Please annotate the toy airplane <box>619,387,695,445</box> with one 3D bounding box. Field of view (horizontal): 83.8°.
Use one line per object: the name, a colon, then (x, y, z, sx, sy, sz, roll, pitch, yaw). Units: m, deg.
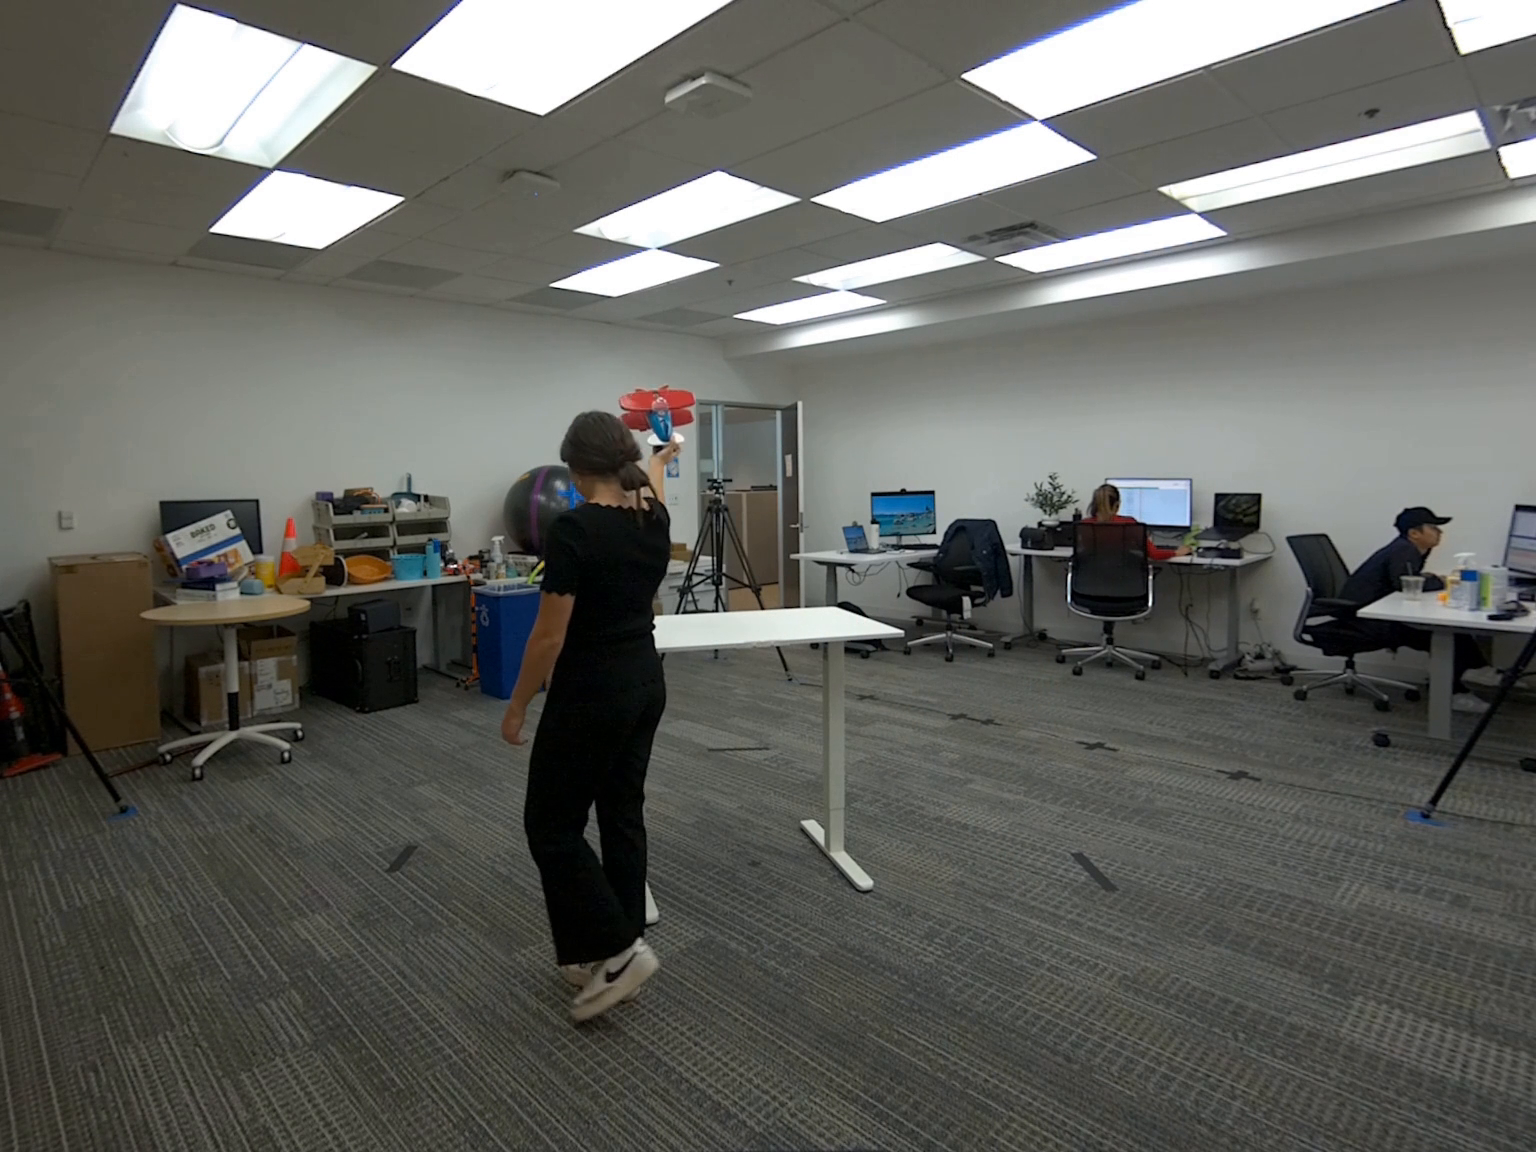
toy airplane: (-0.352, -0.527, 2.872, 0.248, 0.153, 0.269, -27, 44, -36)
